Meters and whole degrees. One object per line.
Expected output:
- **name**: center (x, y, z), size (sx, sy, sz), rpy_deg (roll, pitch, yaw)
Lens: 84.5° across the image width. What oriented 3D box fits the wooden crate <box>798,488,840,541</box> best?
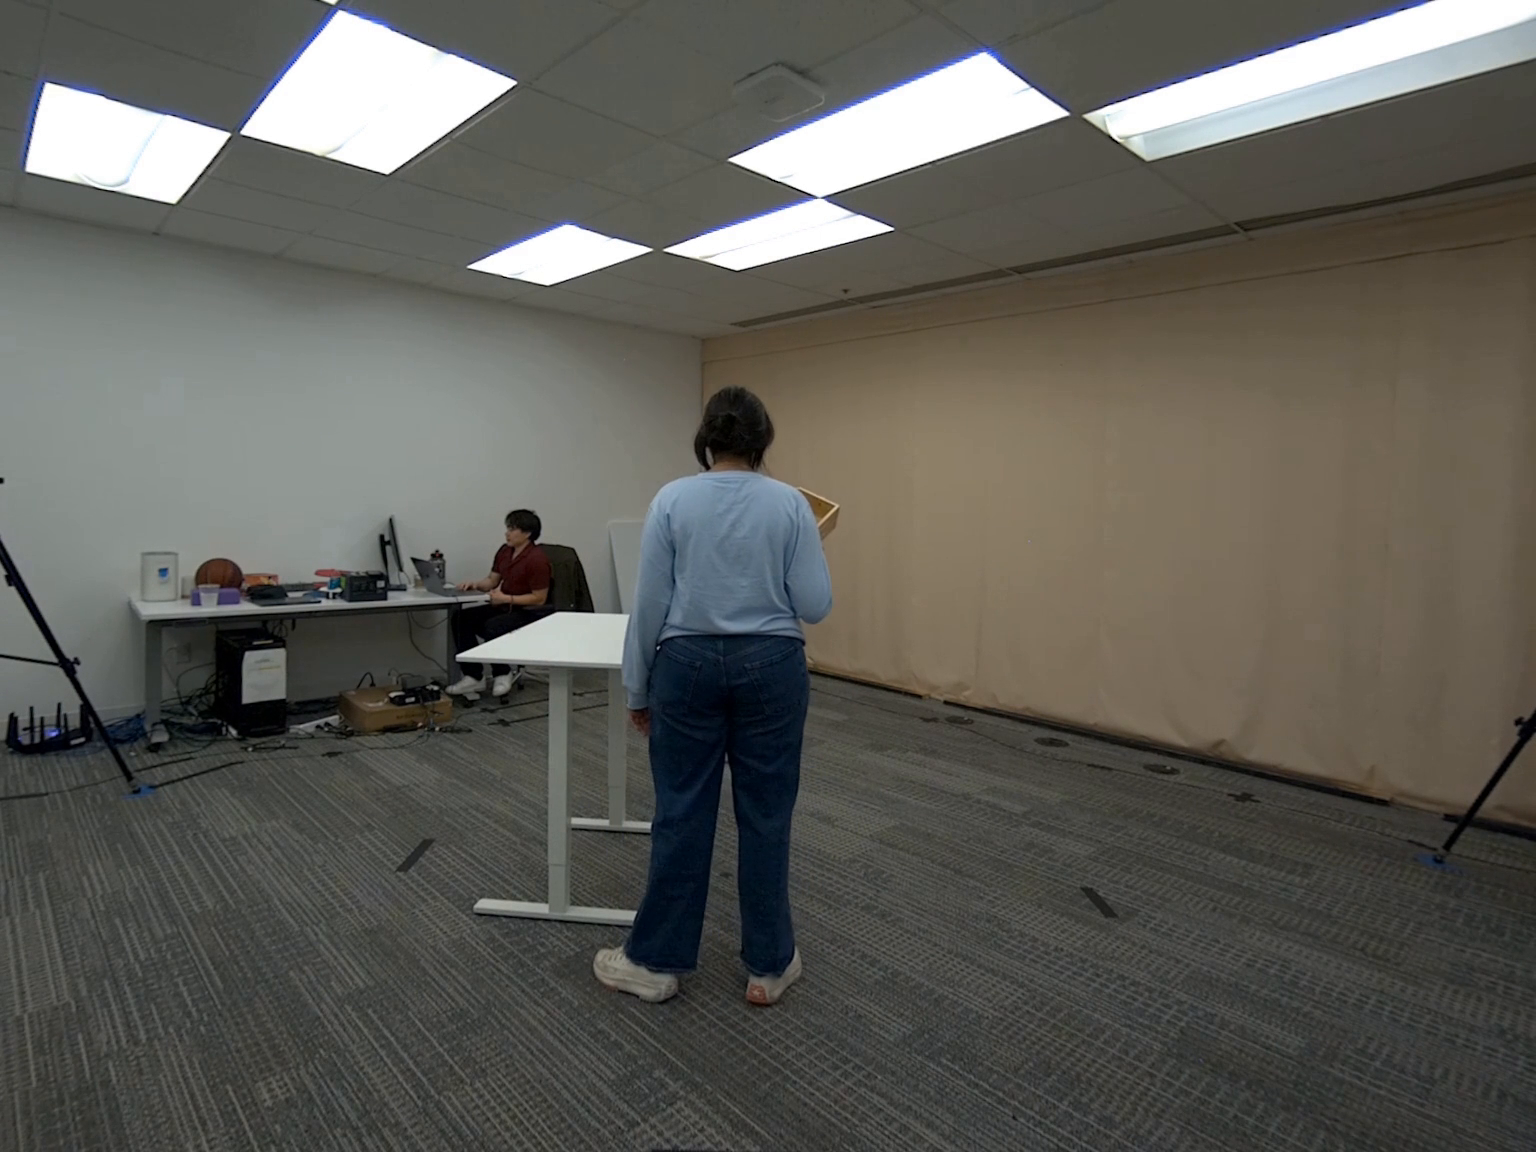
- **wooden crate**: center (0.012, -0.109, 2.678), size (0.308, 0.268, 0.324), rpy_deg (26, 45, 20)
